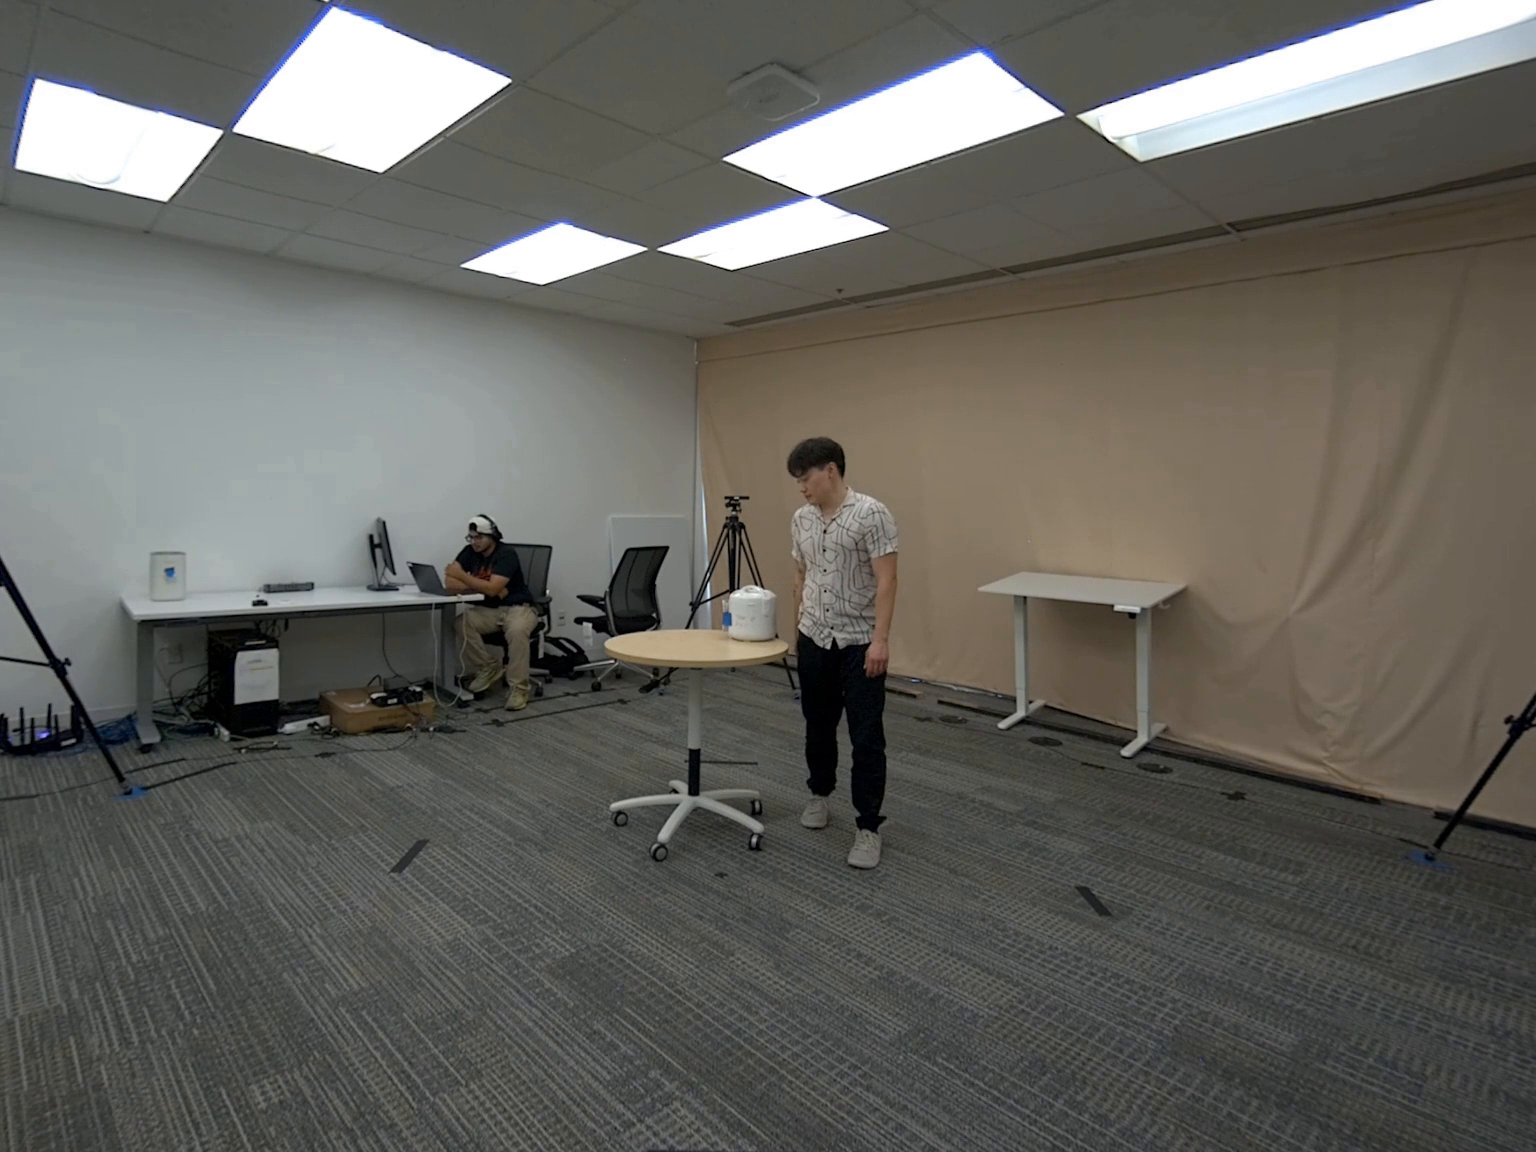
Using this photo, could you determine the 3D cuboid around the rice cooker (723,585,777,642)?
[{"bbox_3d":[-0.069,0.156,3.663,0.213,0.232,0.226,-2,6,-34],"label":"rice cooker"}]
